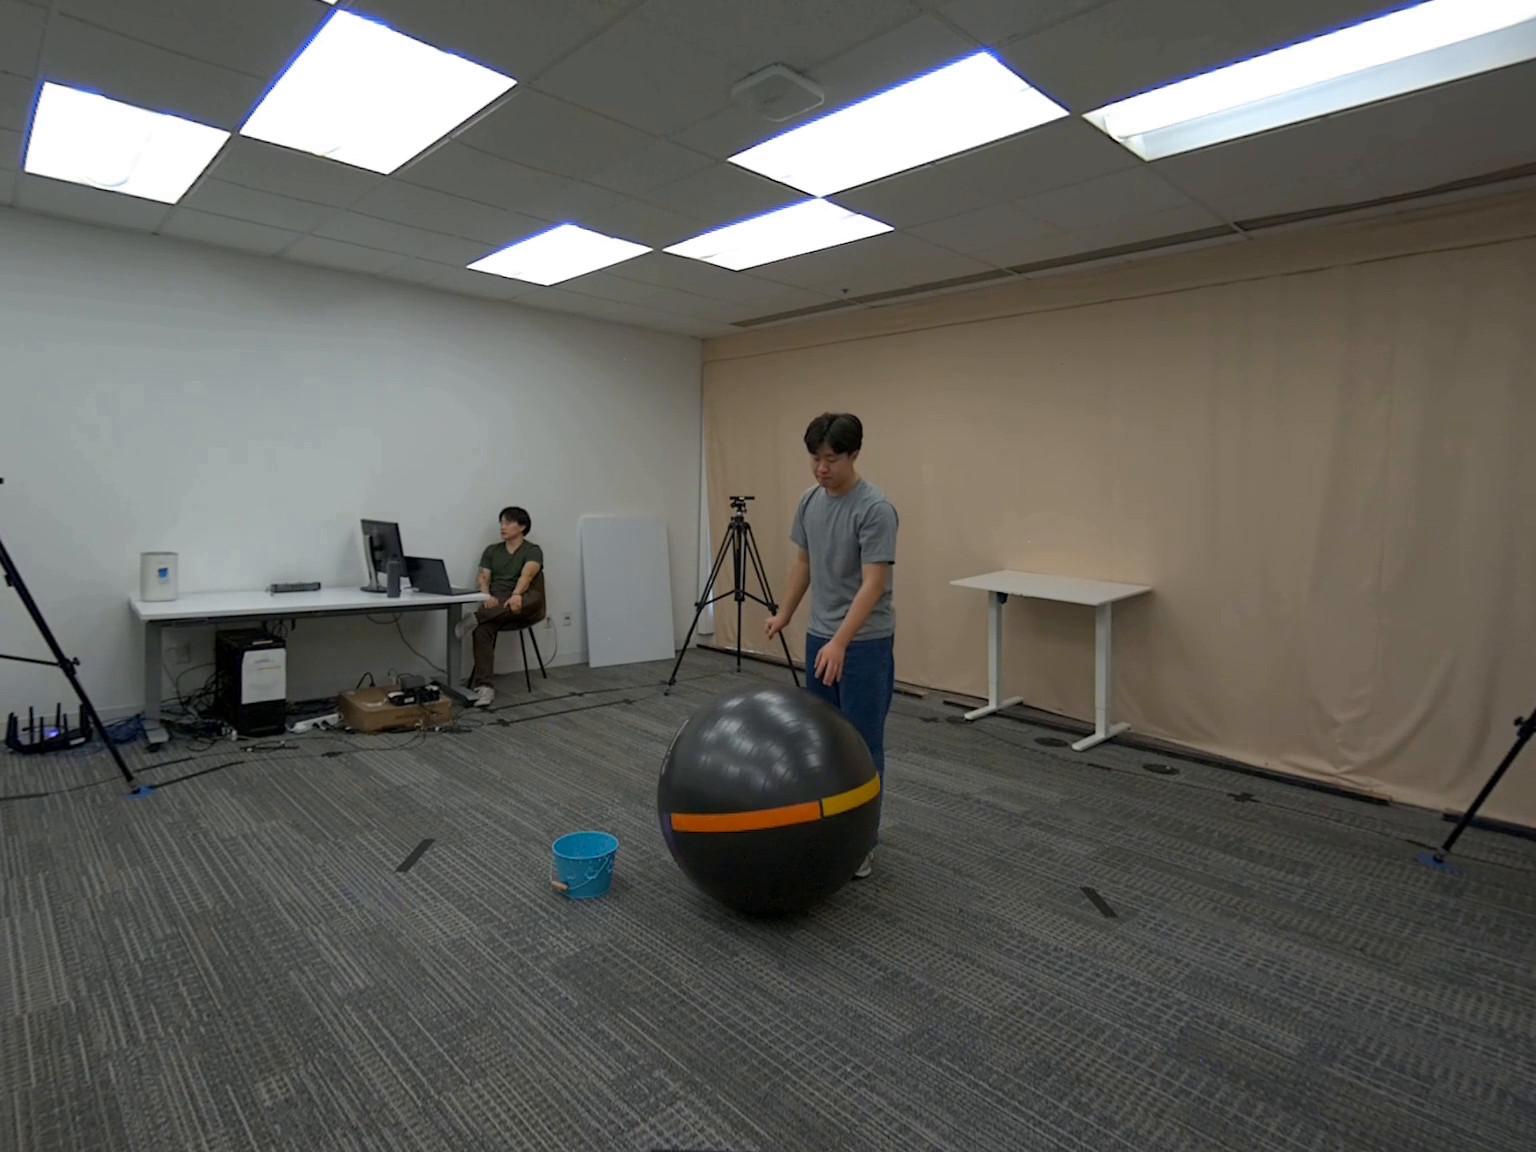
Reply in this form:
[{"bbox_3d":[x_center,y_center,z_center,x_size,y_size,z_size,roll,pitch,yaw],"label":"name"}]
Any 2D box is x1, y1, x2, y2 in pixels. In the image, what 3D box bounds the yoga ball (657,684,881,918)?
[{"bbox_3d":[-0.002,0.756,2.890,0.757,0.756,0.761,1,4,-1],"label":"yoga ball"}]
